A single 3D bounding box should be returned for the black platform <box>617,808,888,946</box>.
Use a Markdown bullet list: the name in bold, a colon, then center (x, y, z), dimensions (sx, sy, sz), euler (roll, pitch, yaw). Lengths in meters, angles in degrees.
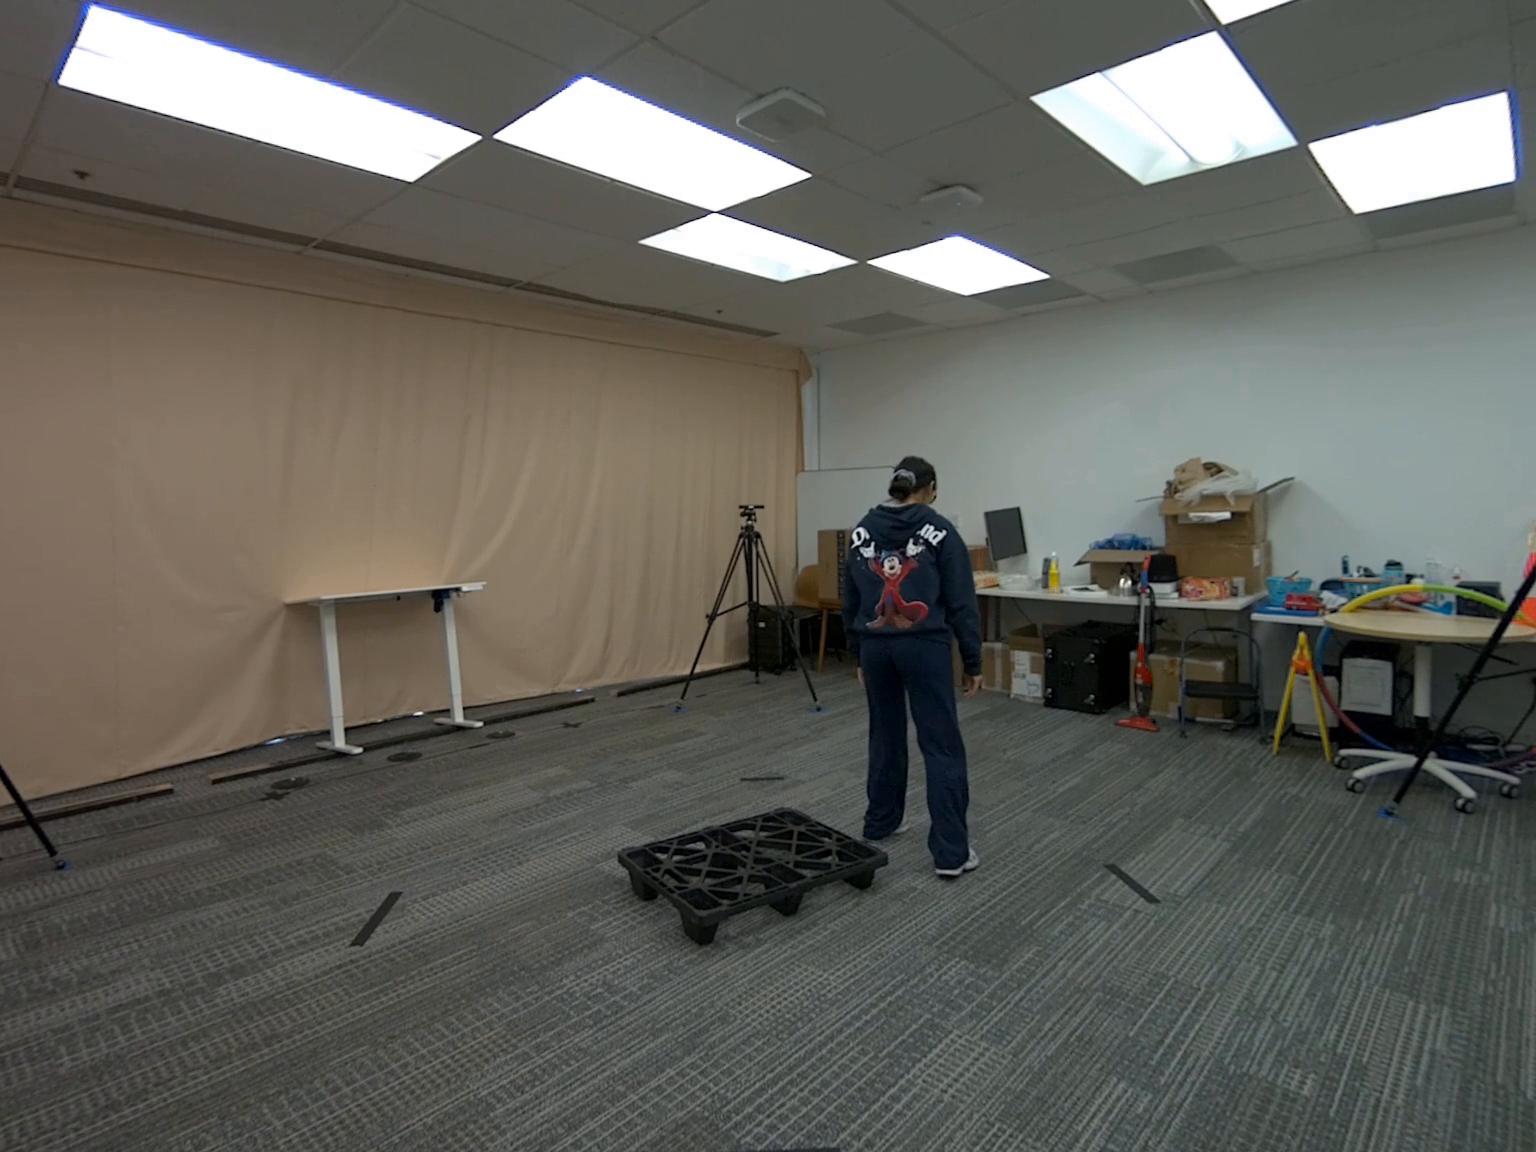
- **black platform**: center (-0.061, 1.071, 3.048), dimensions (0.783, 0.143, 0.624), euler (-4, 5, -34)
